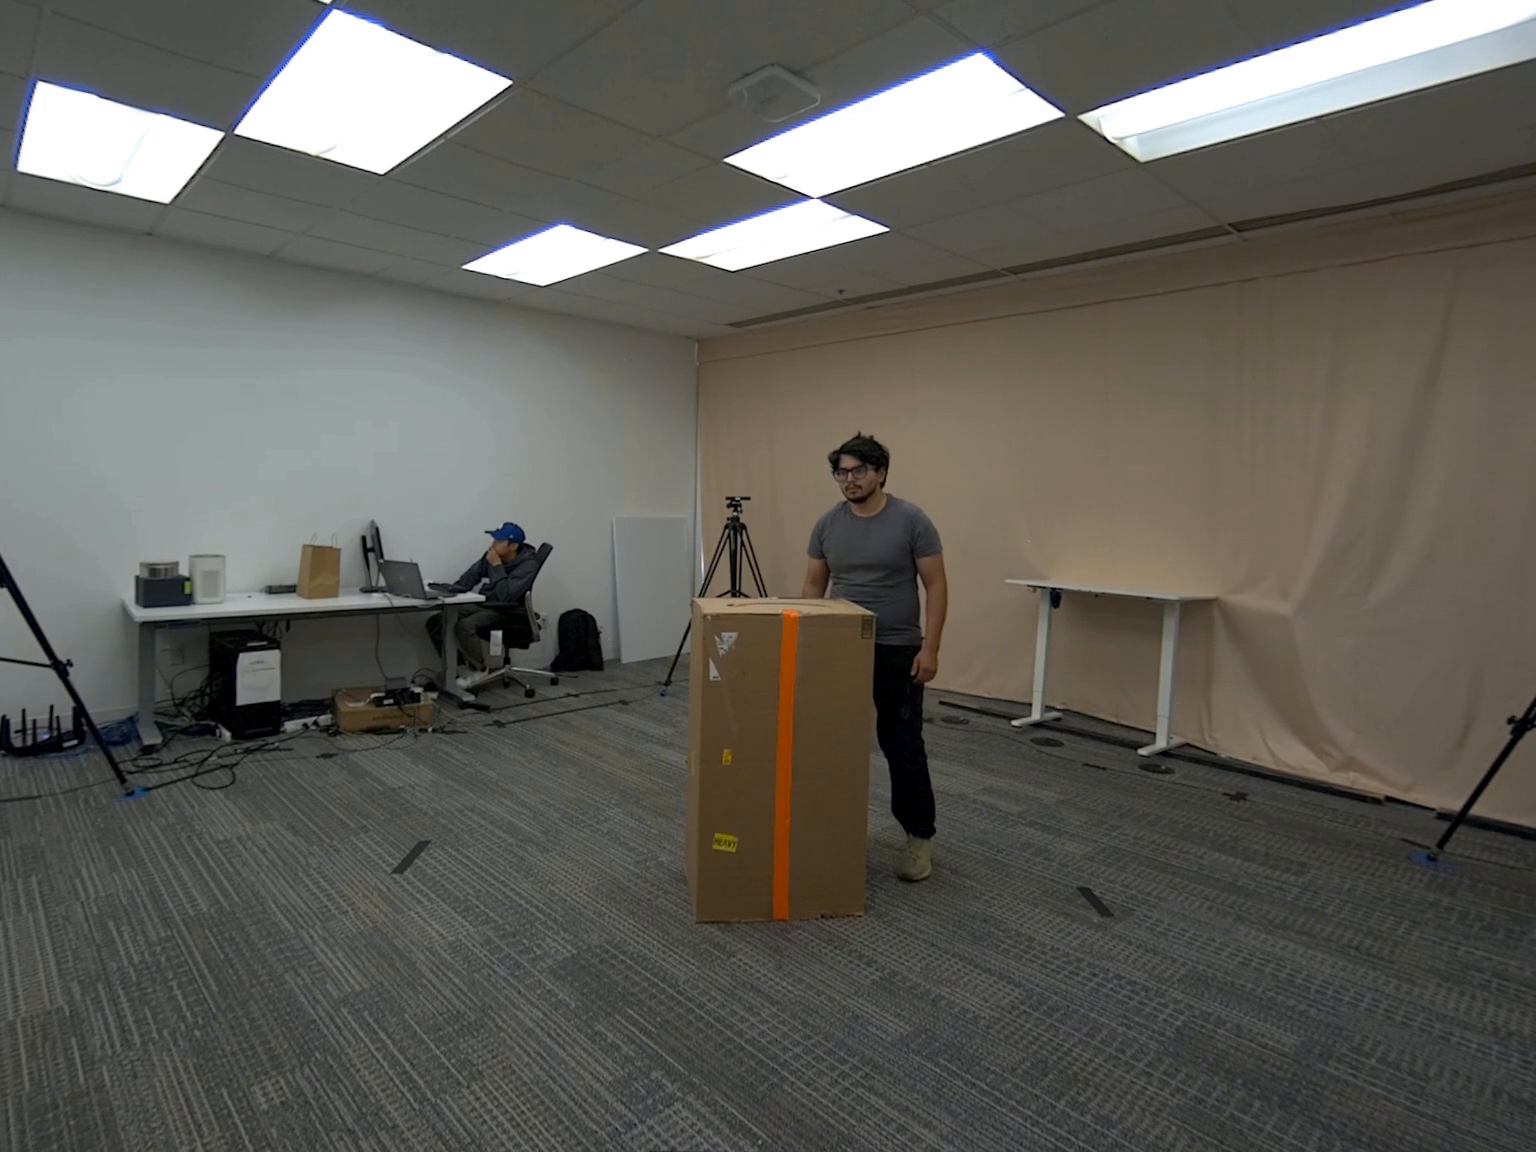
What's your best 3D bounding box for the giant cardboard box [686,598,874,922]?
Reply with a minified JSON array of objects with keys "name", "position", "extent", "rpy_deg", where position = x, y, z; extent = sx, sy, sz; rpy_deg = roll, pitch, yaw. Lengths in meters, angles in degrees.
[{"name":"giant cardboard box","position":[0.012,0.615,2.961],"extent":[0.580,1.025,0.451],"rpy_deg":[1,3,-9]}]
